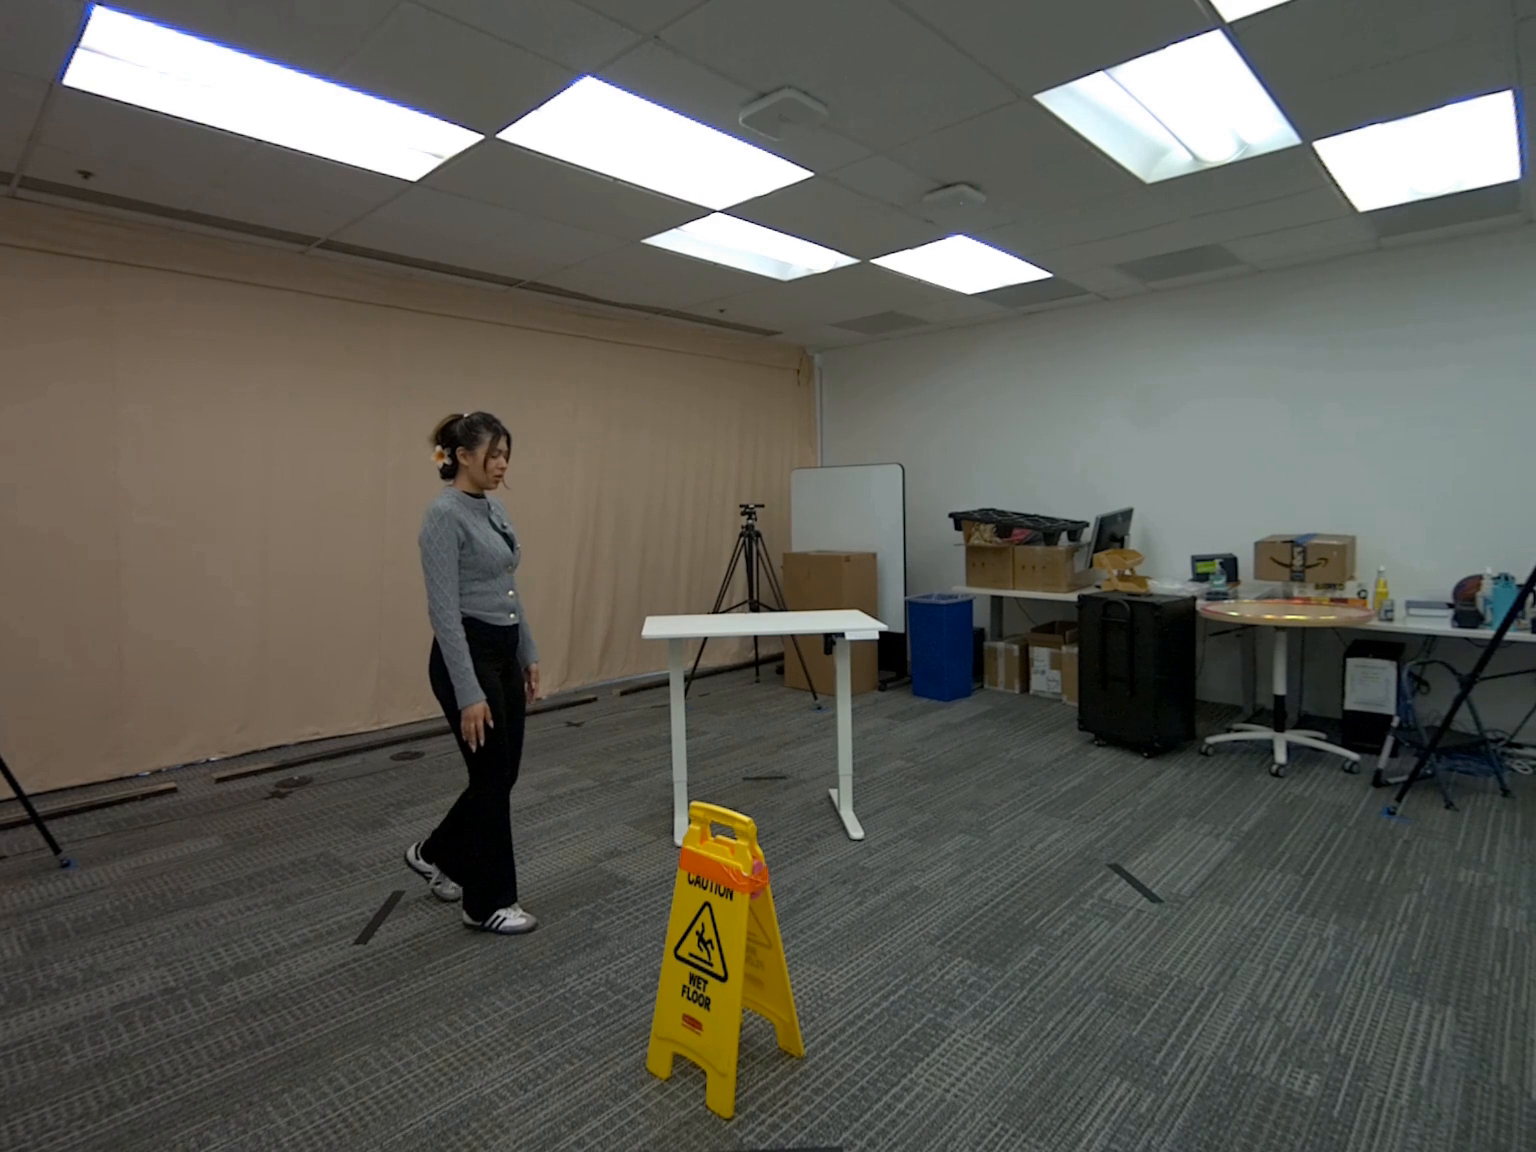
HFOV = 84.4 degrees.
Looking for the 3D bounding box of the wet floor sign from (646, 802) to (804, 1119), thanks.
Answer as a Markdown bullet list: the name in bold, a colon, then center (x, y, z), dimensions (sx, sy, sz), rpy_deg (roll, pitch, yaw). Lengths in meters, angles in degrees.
- **wet floor sign**: center (-0.107, 0.900, 2.081), dimensions (0.291, 0.645, 0.281), rpy_deg (1, 4, 40)
